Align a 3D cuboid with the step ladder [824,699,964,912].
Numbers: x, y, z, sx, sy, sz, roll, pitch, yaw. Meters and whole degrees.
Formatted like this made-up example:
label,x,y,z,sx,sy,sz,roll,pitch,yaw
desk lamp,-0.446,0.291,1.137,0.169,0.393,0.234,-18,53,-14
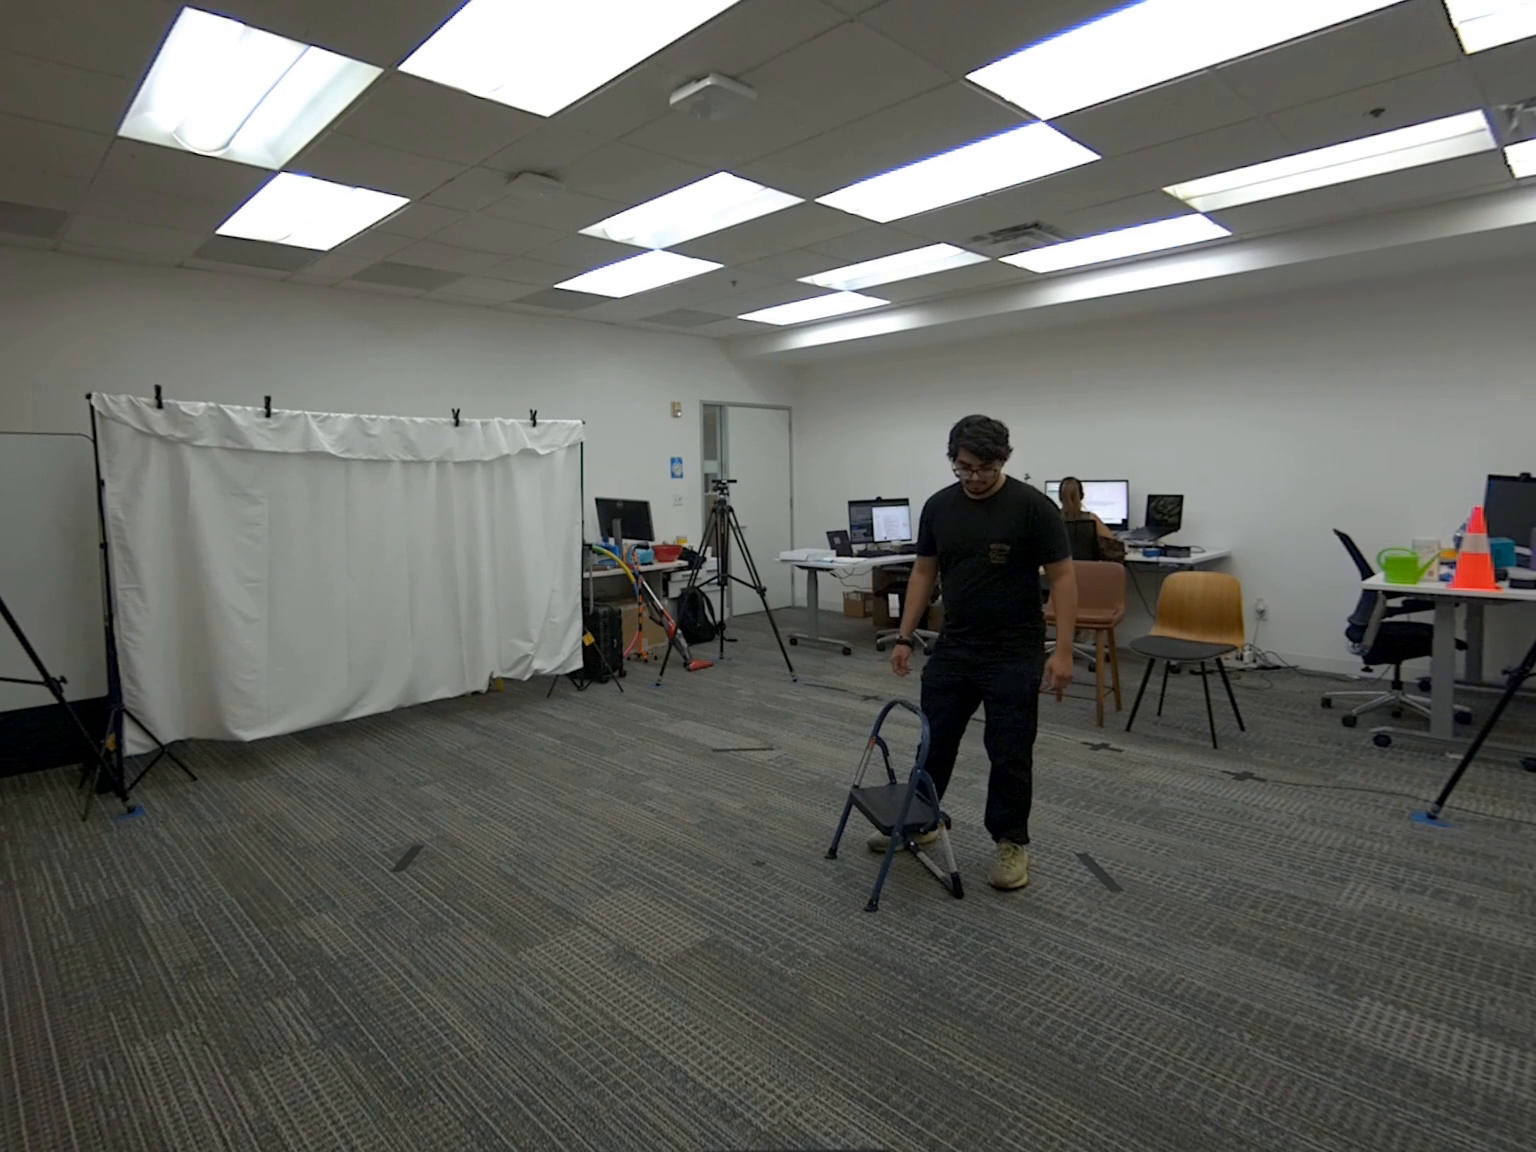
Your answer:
label,x,y,z,sx,sy,sz,roll,pitch,yaw
step ladder,0.430,0.760,2.963,0.345,0.604,0.437,-2,4,-13
